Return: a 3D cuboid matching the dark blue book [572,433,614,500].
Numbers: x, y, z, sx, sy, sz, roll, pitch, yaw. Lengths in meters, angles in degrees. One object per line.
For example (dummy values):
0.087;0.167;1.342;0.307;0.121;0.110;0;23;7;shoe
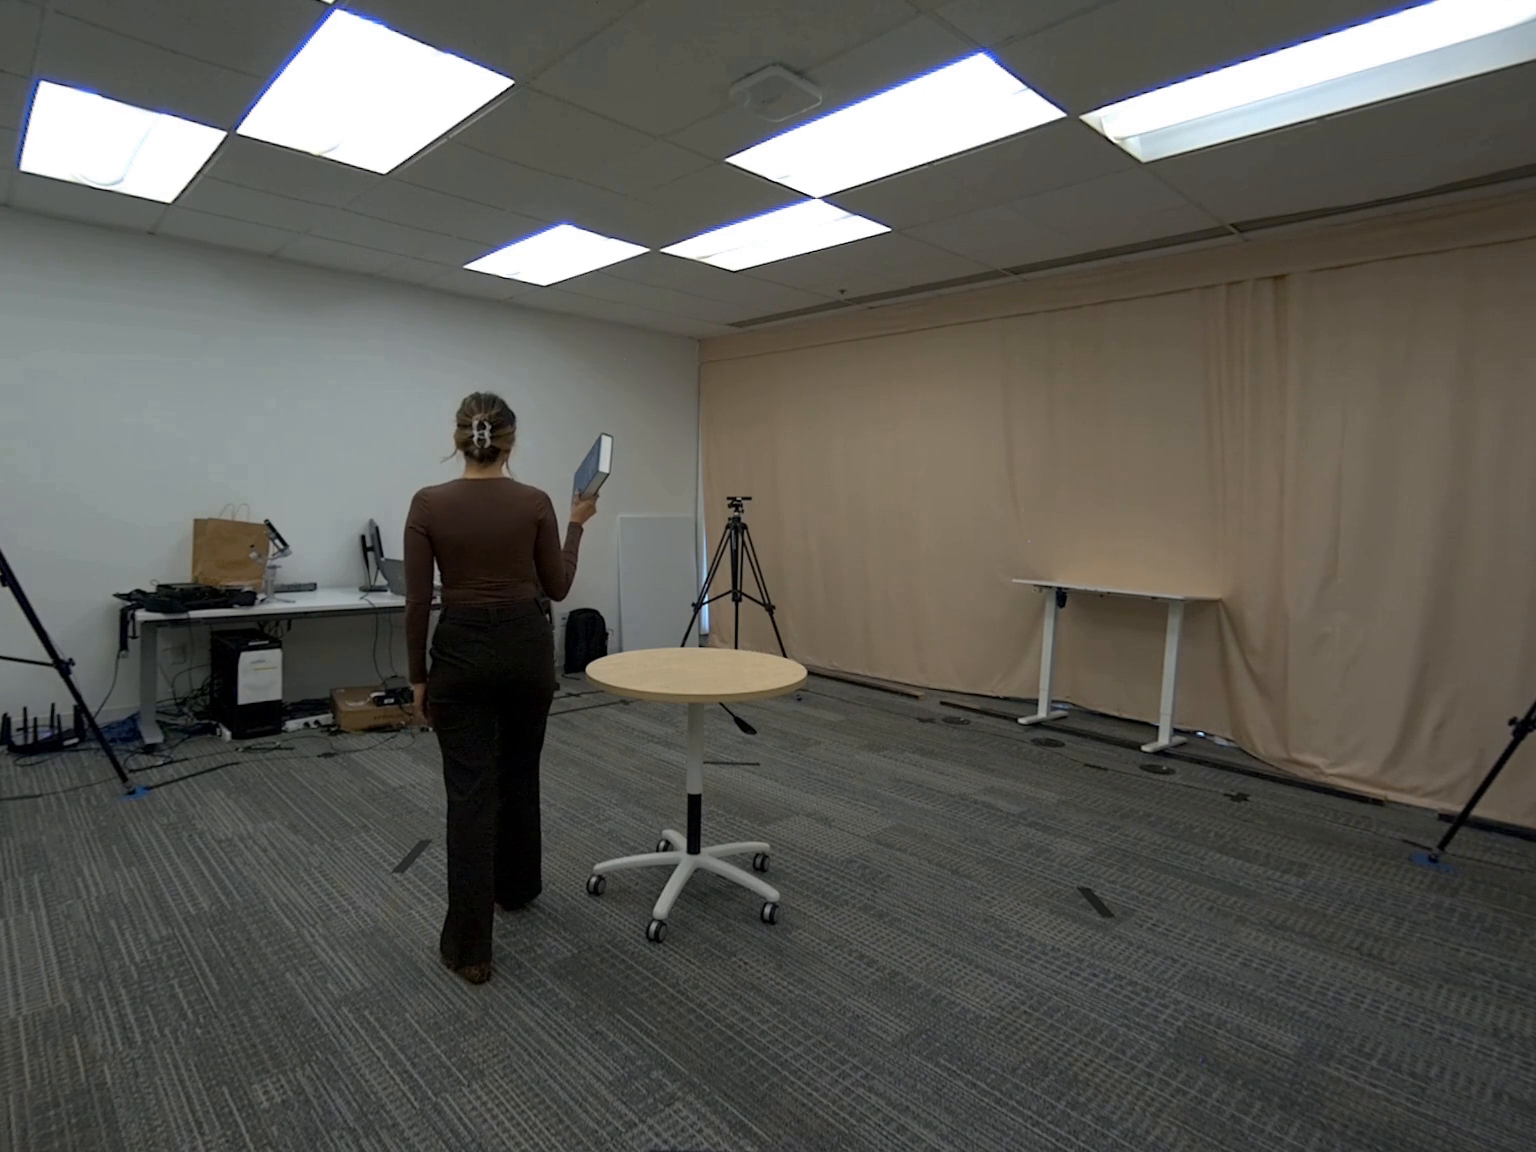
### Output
-0.598;-0.348;2.834;0.044;0.167;0.245;18;-38;-26;dark blue book
